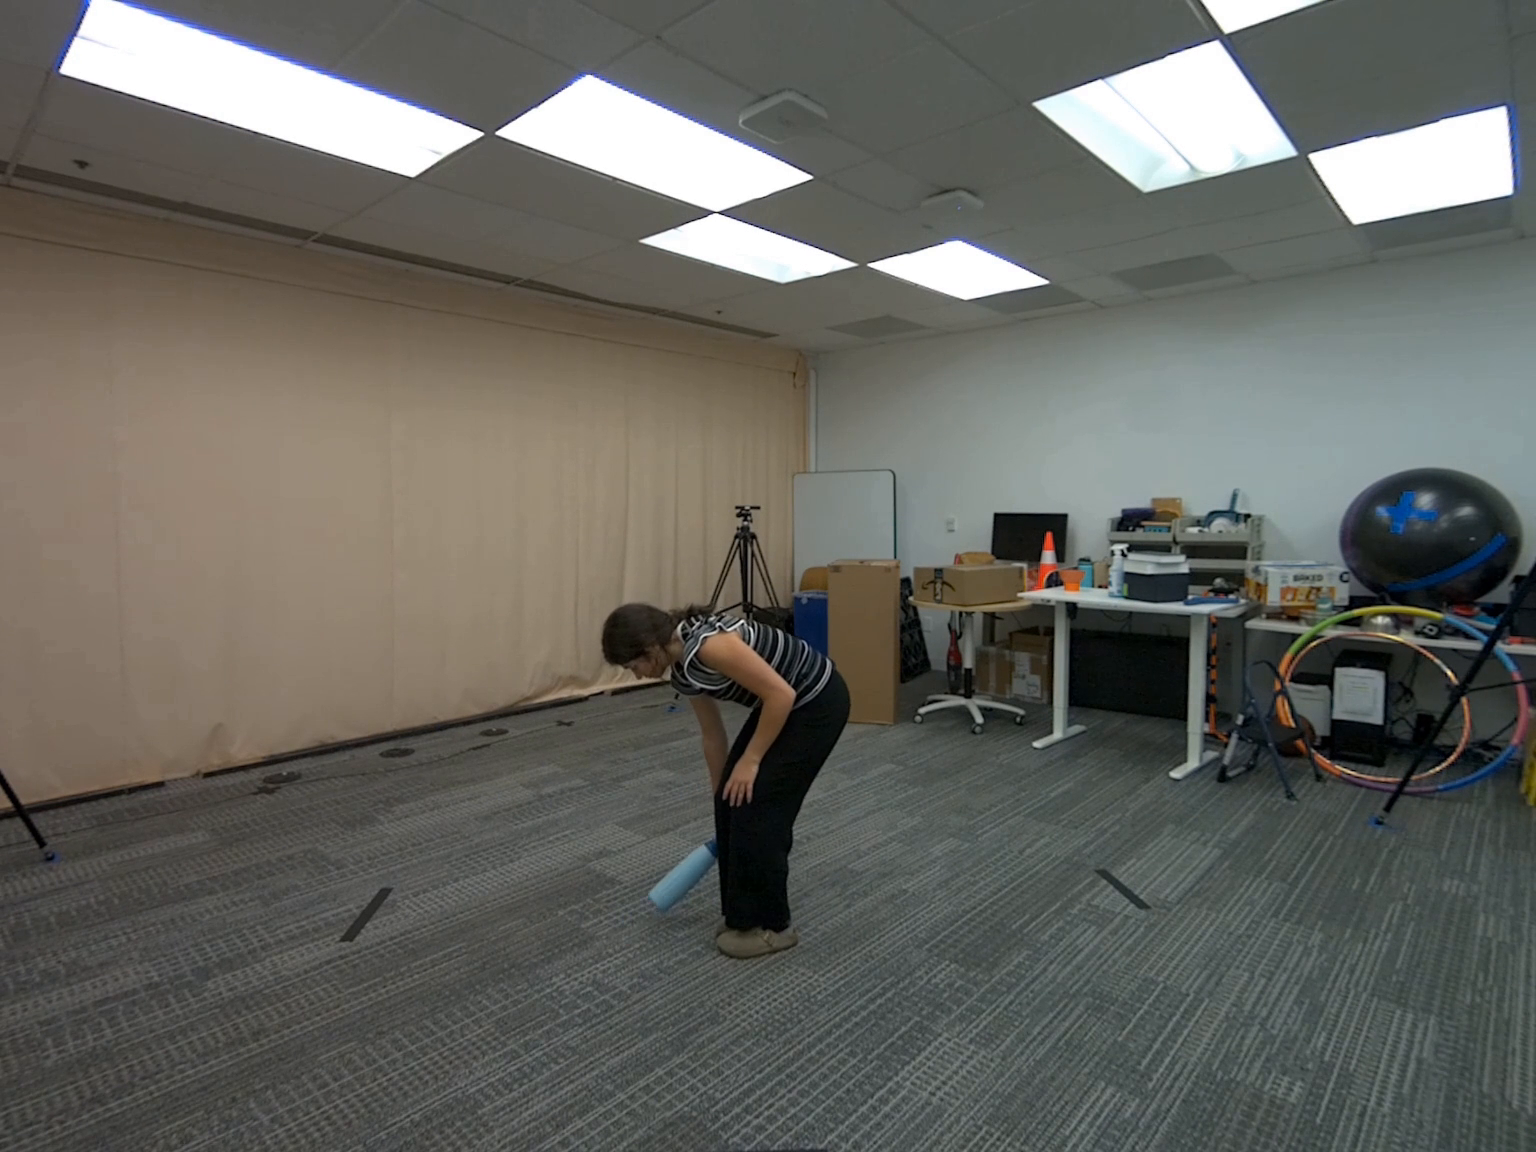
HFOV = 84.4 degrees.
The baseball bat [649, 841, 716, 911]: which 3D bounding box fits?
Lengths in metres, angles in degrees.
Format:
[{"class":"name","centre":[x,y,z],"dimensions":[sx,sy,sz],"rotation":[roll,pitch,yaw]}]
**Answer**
[{"class":"baseball bat","centre":[-0.176,0.923,2.857],"dimensions":[0.540,0.088,0.091],"rotation":[-41,14,-11]}]
